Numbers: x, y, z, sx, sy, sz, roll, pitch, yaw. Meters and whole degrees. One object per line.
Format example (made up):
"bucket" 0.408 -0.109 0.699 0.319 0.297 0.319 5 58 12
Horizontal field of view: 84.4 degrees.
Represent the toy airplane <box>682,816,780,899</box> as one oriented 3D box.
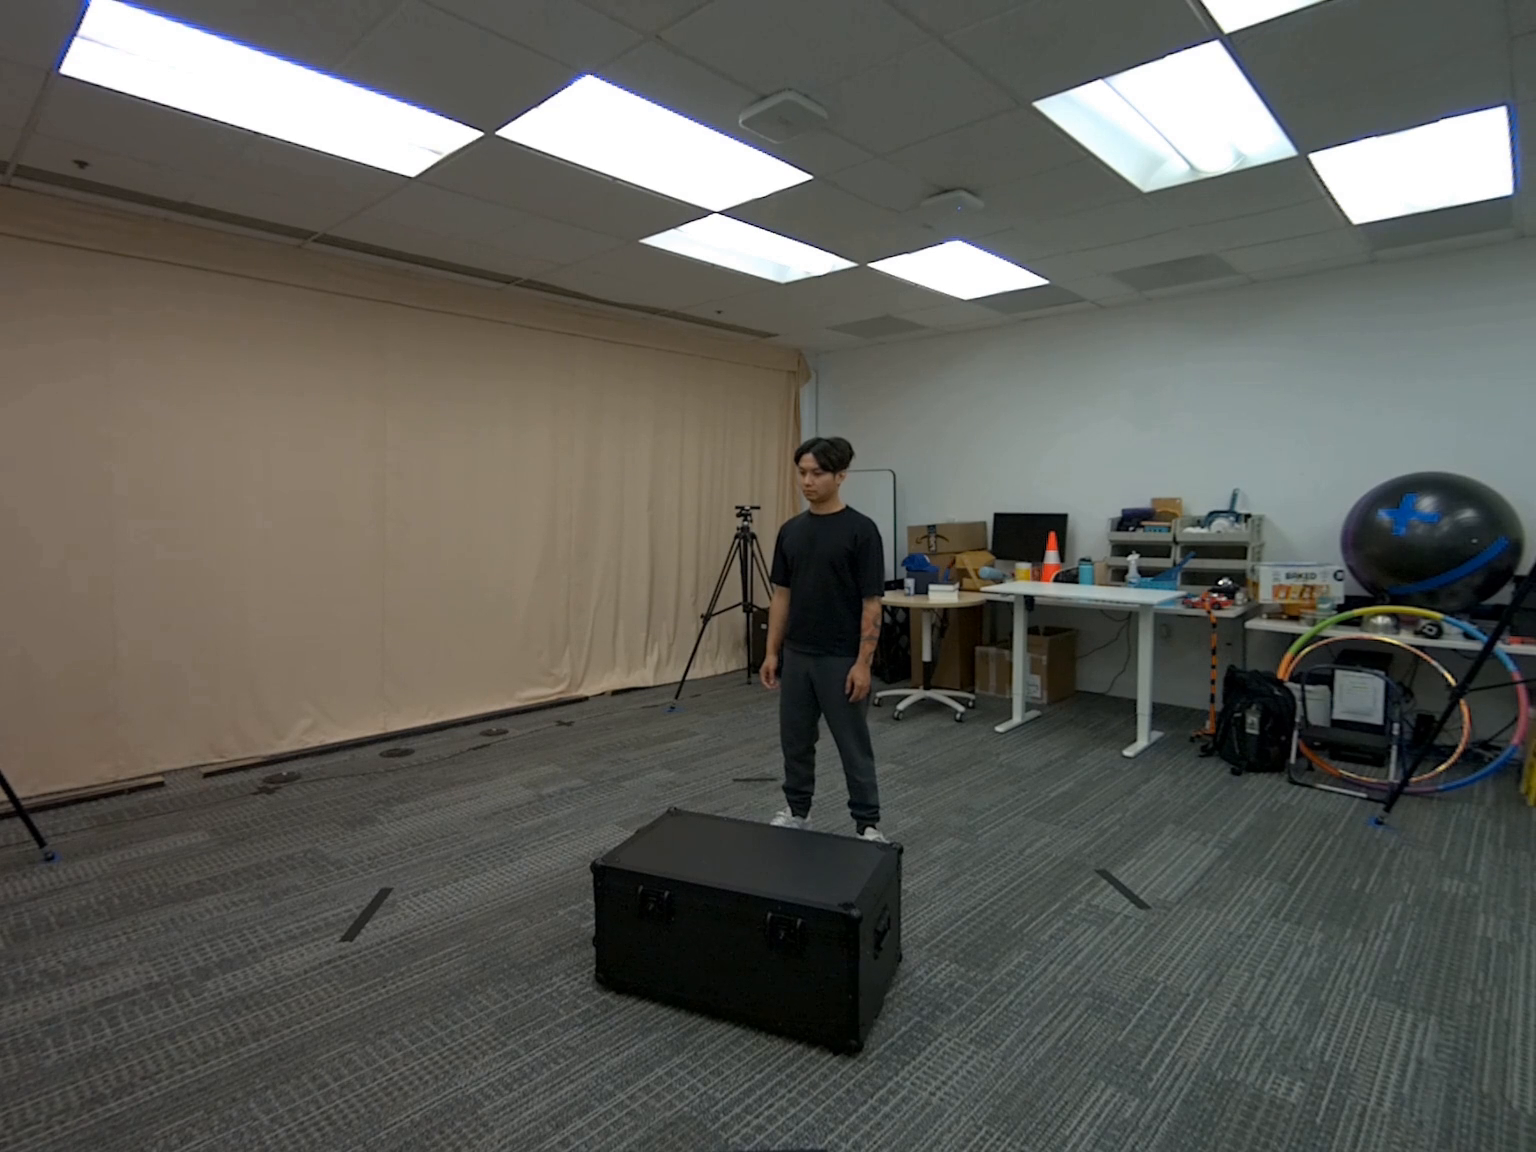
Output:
"toy airplane" -0.142 1.050 3.192 0.268 0.156 0.243 5 7 44
